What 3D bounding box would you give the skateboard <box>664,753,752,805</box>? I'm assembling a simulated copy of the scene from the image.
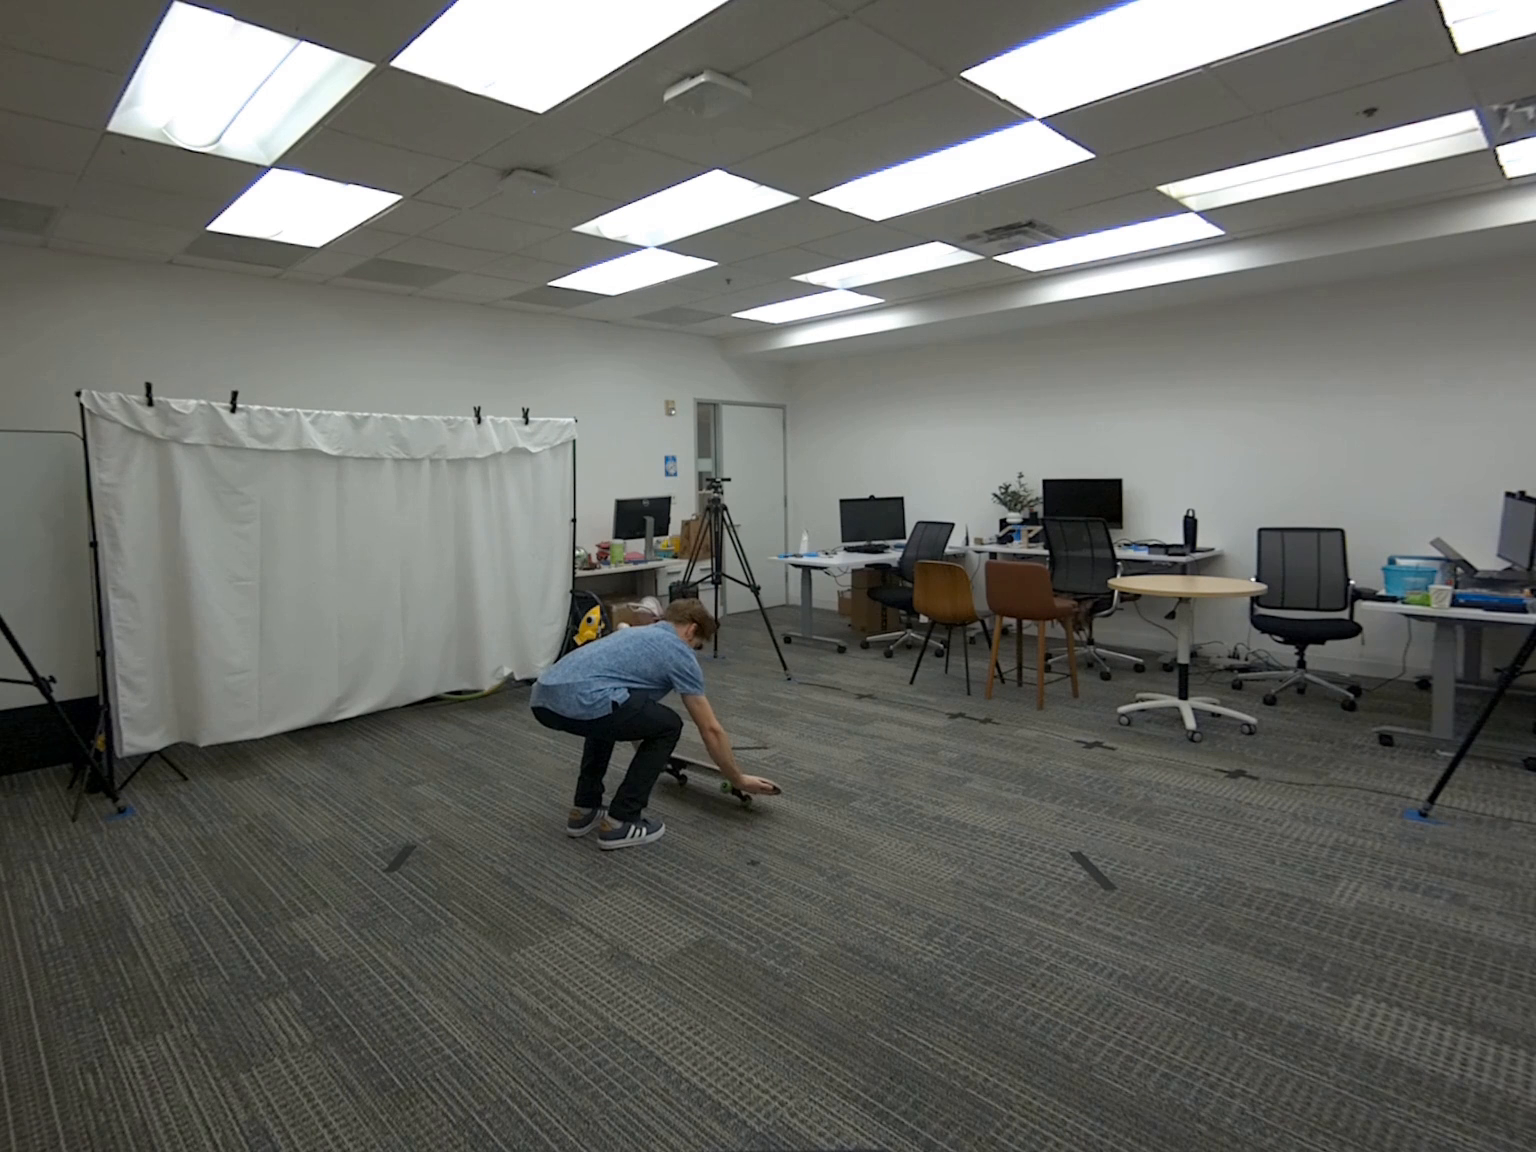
[{"bbox_3d":[-0.271,0.871,3.735,0.809,0.111,0.186,4,-32,43],"label":"skateboard"}]
